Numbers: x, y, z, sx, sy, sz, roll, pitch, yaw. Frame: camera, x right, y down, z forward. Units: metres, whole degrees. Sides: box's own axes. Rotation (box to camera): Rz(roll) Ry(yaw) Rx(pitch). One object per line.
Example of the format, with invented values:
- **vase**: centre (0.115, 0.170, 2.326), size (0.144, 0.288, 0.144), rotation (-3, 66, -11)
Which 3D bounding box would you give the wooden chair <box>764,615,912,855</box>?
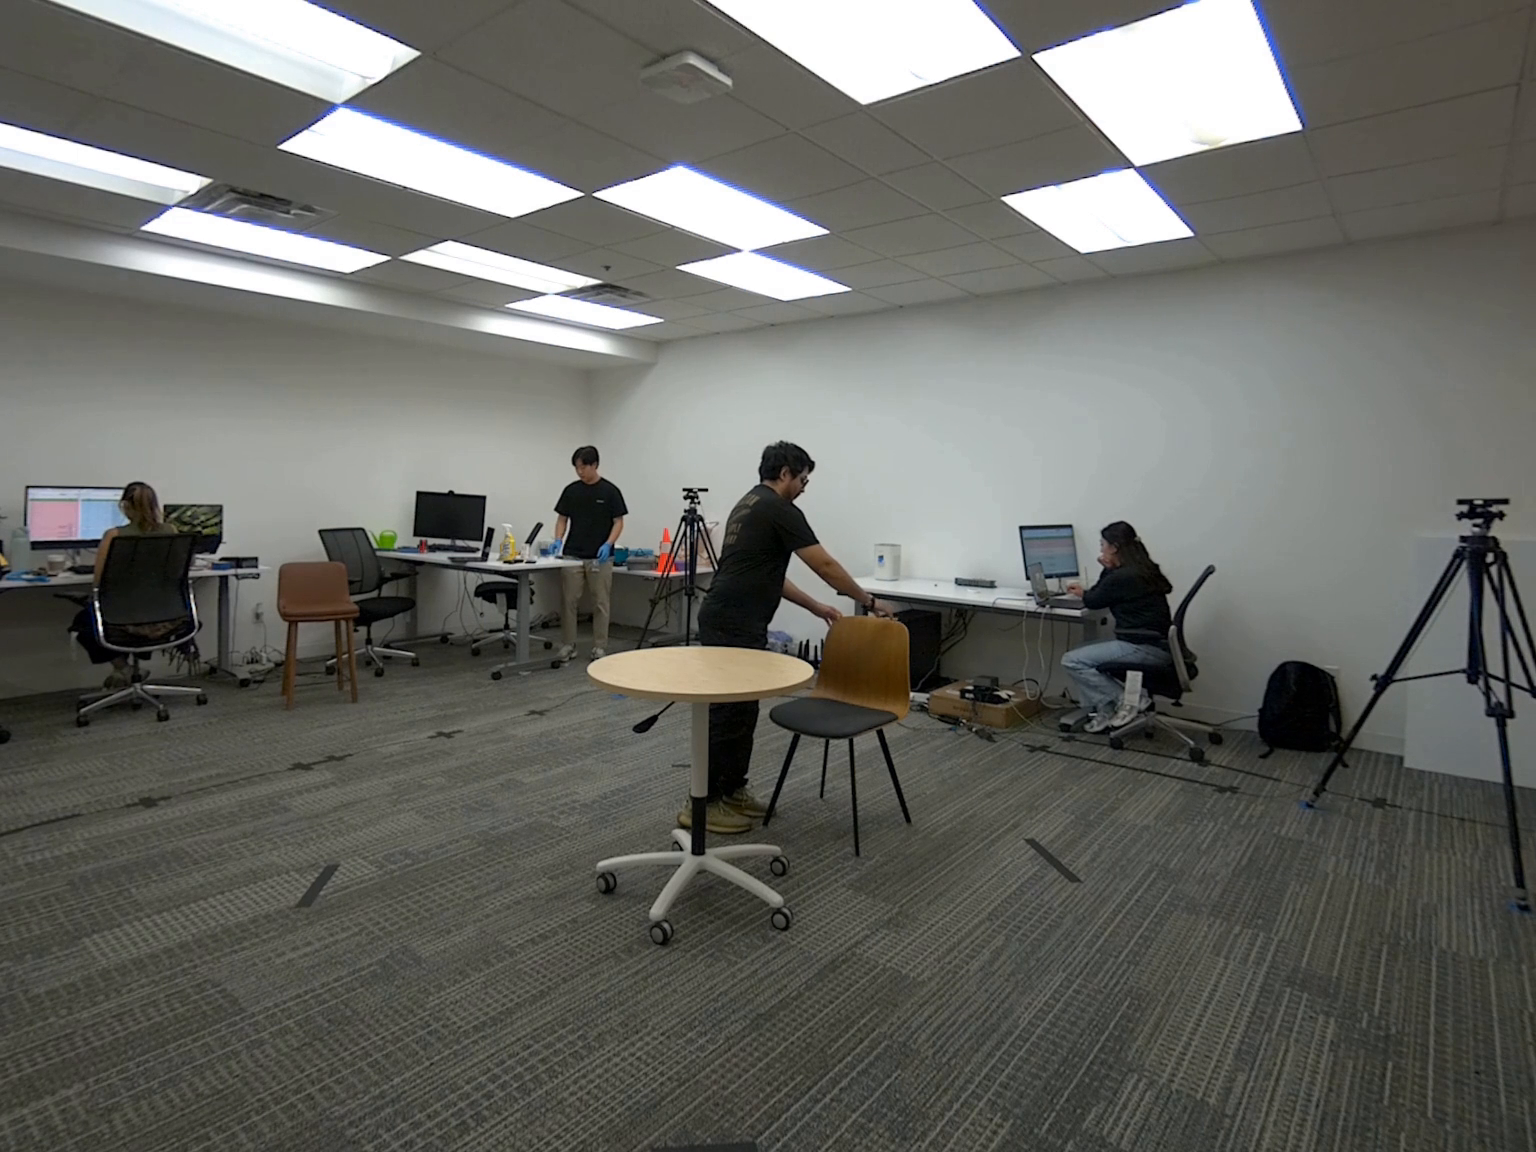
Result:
- **wooden chair**: centre (0.292, 0.611, 3.524), size (0.494, 0.877, 0.506), rotation (5, 0, 37)
